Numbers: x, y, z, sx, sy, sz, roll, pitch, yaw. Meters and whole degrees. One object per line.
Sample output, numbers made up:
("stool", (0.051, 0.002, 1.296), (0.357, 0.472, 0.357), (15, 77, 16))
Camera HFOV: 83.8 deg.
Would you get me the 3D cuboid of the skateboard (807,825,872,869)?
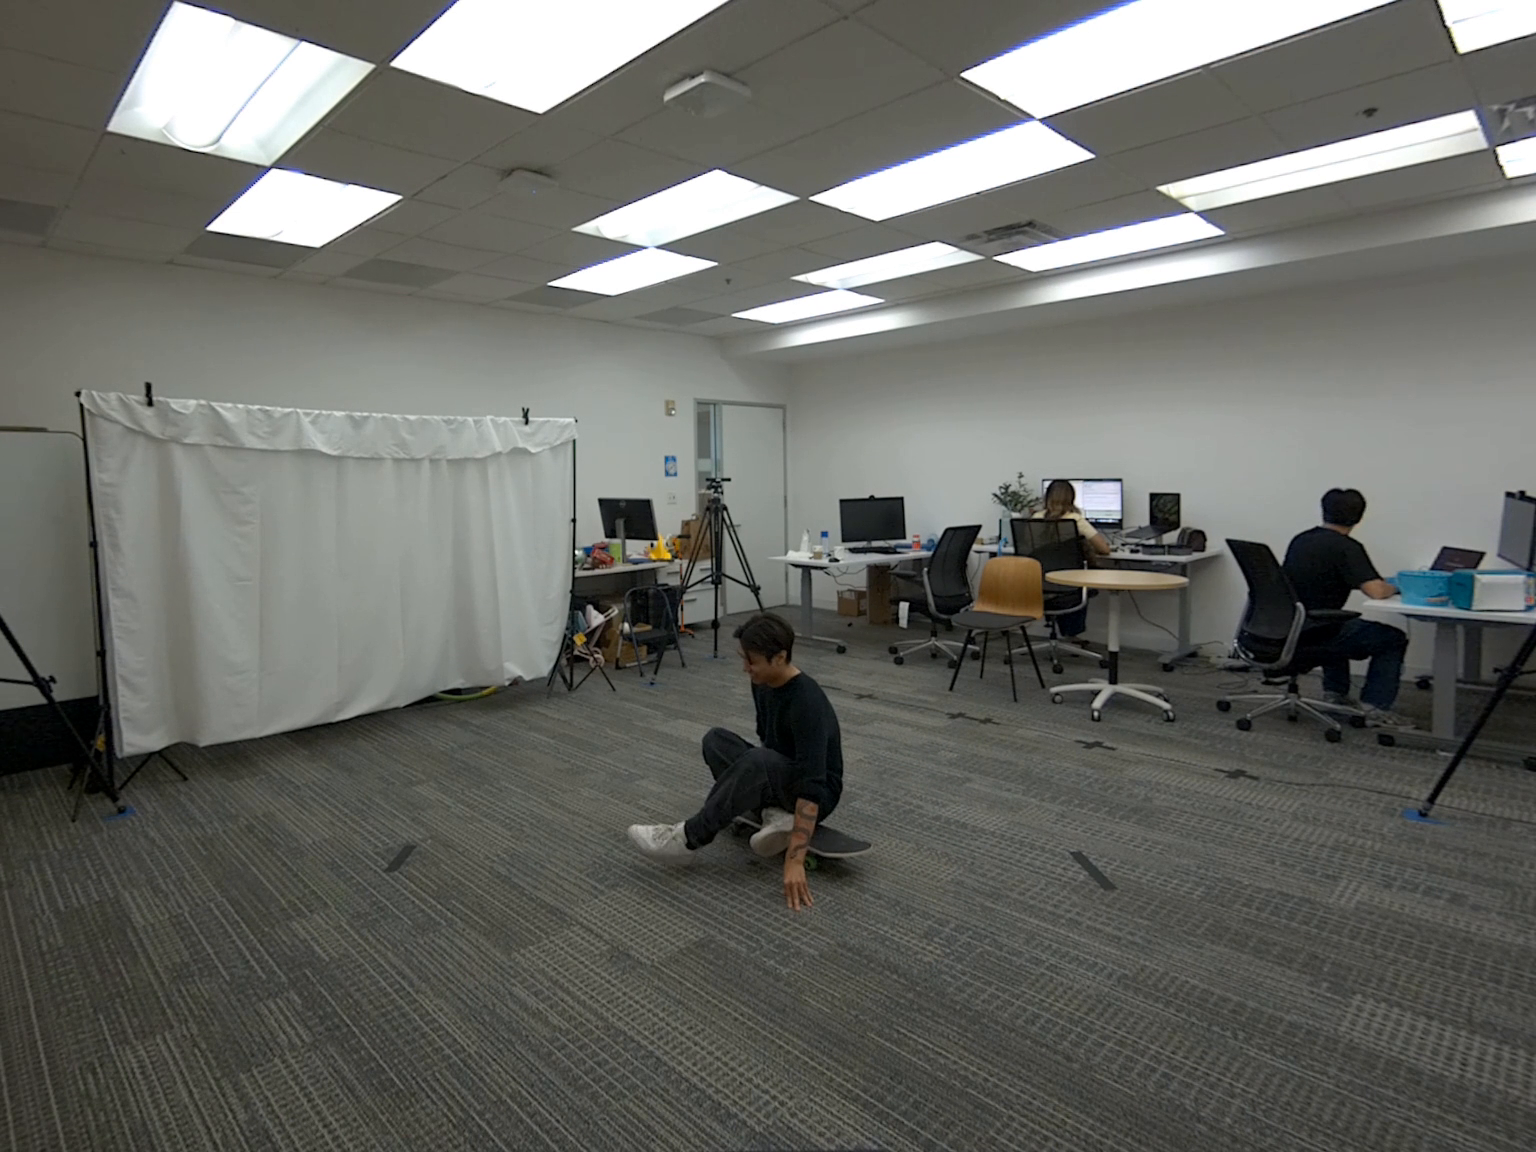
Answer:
("skateboard", (0.068, 0.980, 3.236), (0.188, 0.110, 0.809), (-2, 5, -43))
